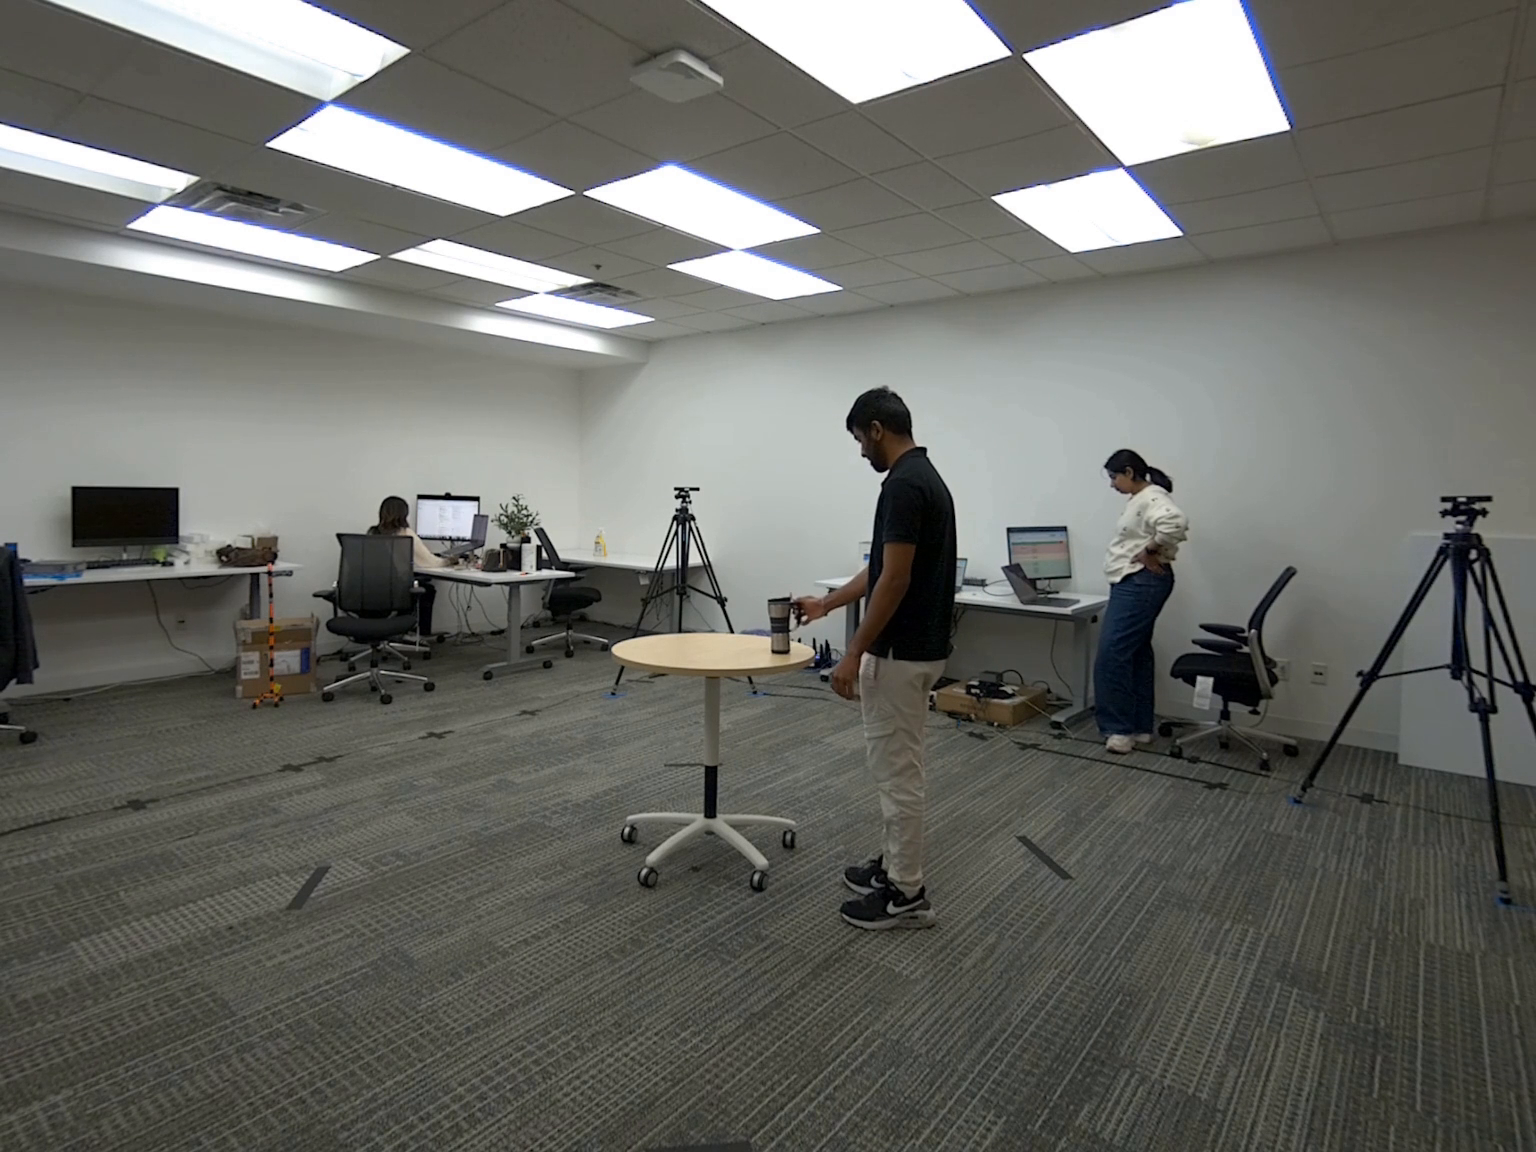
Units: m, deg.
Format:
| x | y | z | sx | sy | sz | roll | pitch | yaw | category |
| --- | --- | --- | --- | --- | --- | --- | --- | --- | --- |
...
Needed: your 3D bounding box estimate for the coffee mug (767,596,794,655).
| x | y | z | sx | sy | sz | roll | pitch | yaw | category |
| --- | --- | --- | --- | --- | --- | --- | --- | --- | --- |
| 0.061 | 0.179 | 3.148 | 0.124 | 0.204 | 0.086 | -3 | -3 | 14 | coffee mug |
